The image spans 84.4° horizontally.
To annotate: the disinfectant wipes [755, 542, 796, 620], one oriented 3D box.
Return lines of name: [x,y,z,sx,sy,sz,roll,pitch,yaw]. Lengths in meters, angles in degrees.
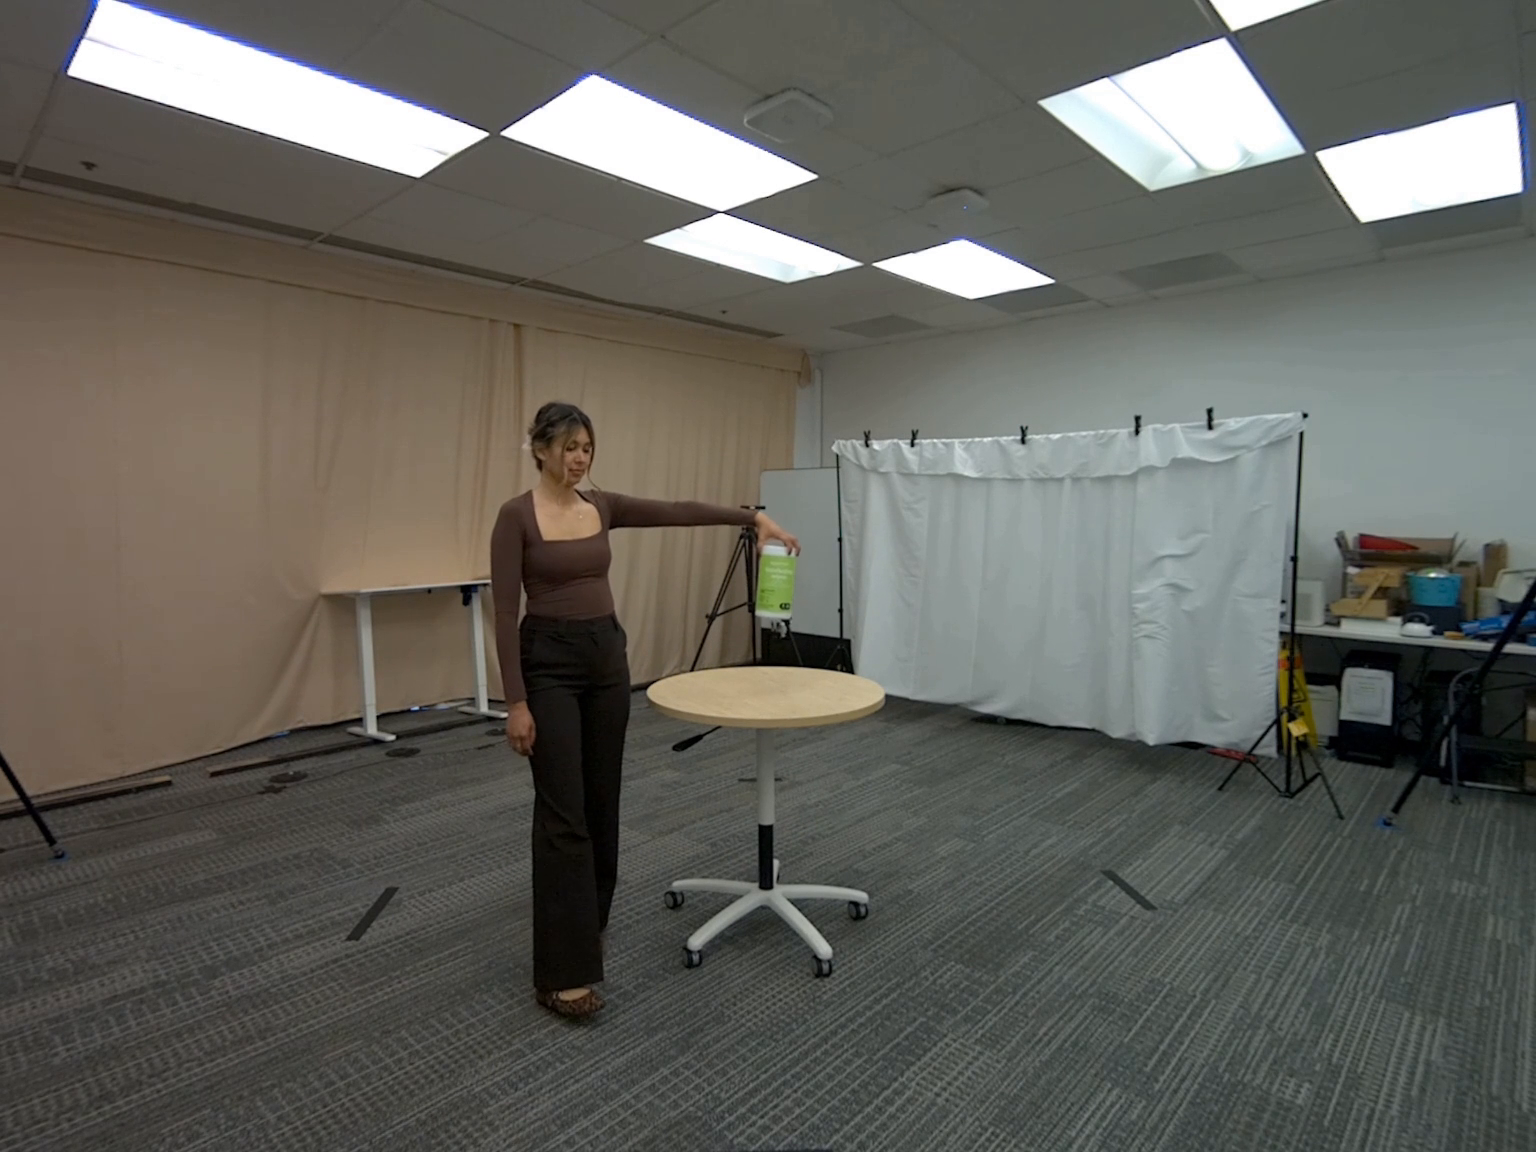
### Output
disinfectant wipes: [0.025,0.018,2.526,0.117,0.217,0.118,5,2,-2]
